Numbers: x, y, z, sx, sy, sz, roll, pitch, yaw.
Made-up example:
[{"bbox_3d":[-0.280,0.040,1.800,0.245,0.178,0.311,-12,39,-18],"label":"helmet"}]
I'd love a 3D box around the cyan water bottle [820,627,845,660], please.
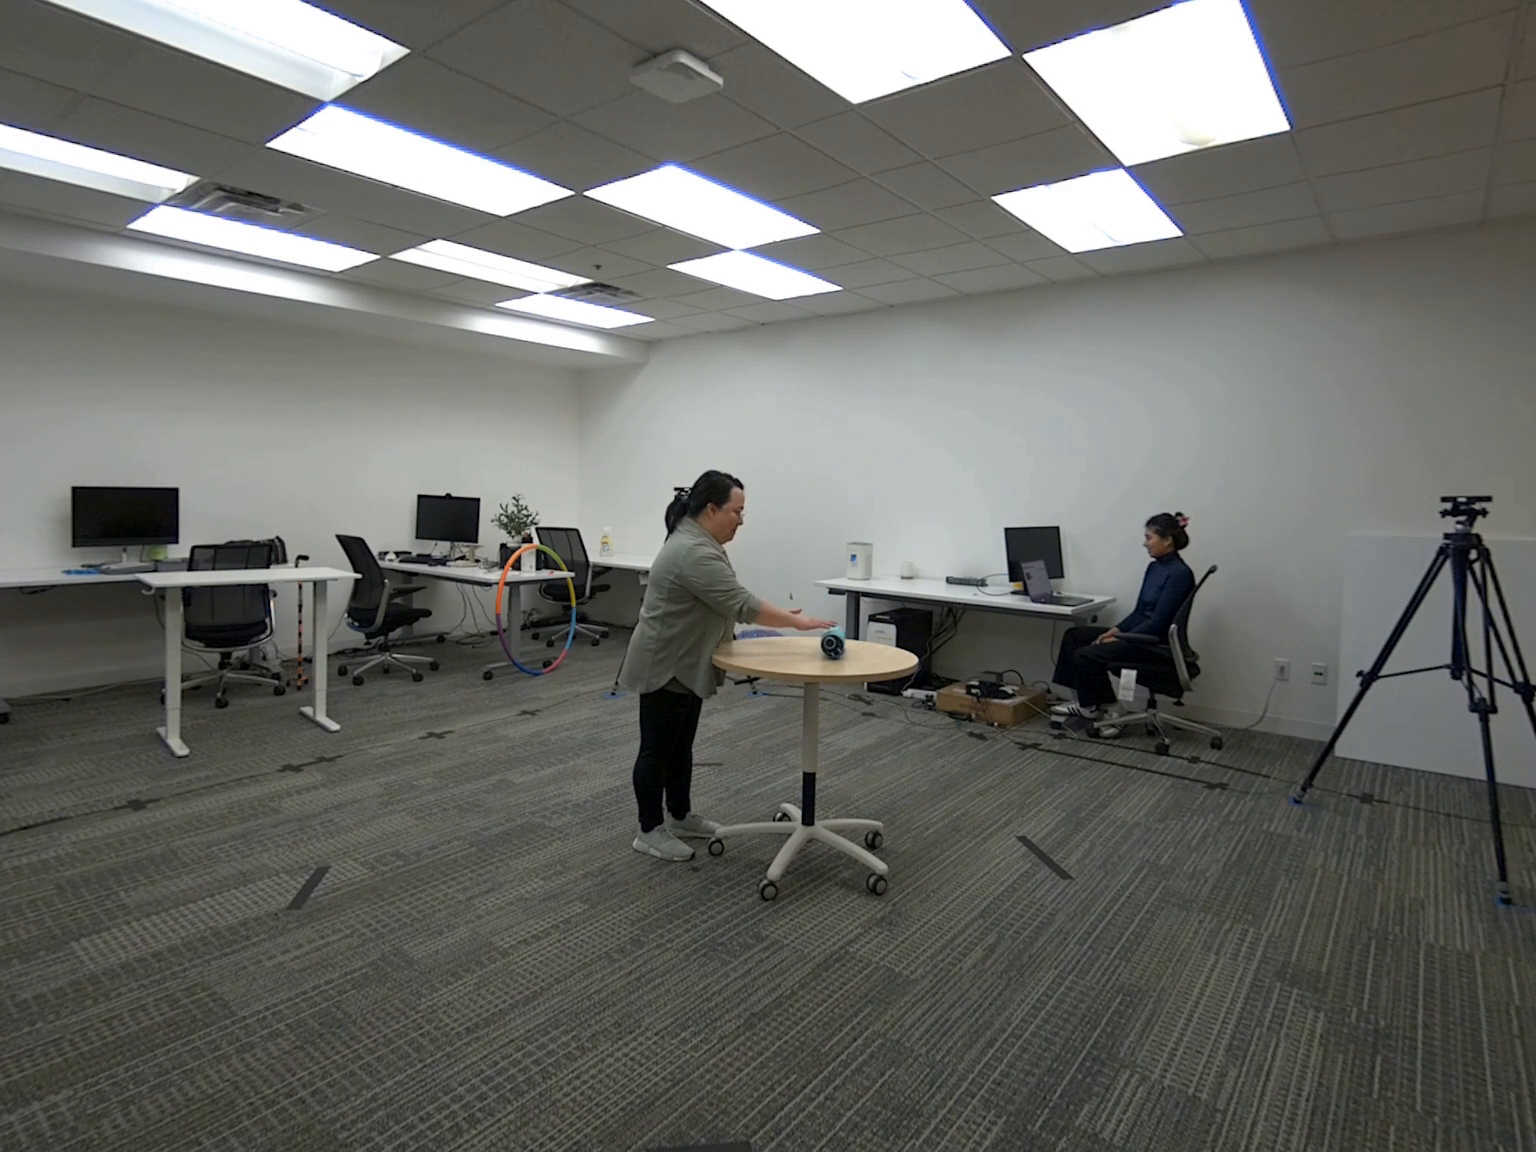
[{"bbox_3d":[0.230,0.241,3.159,0.093,0.092,0.282,1,3,4],"label":"cyan water bottle"}]
